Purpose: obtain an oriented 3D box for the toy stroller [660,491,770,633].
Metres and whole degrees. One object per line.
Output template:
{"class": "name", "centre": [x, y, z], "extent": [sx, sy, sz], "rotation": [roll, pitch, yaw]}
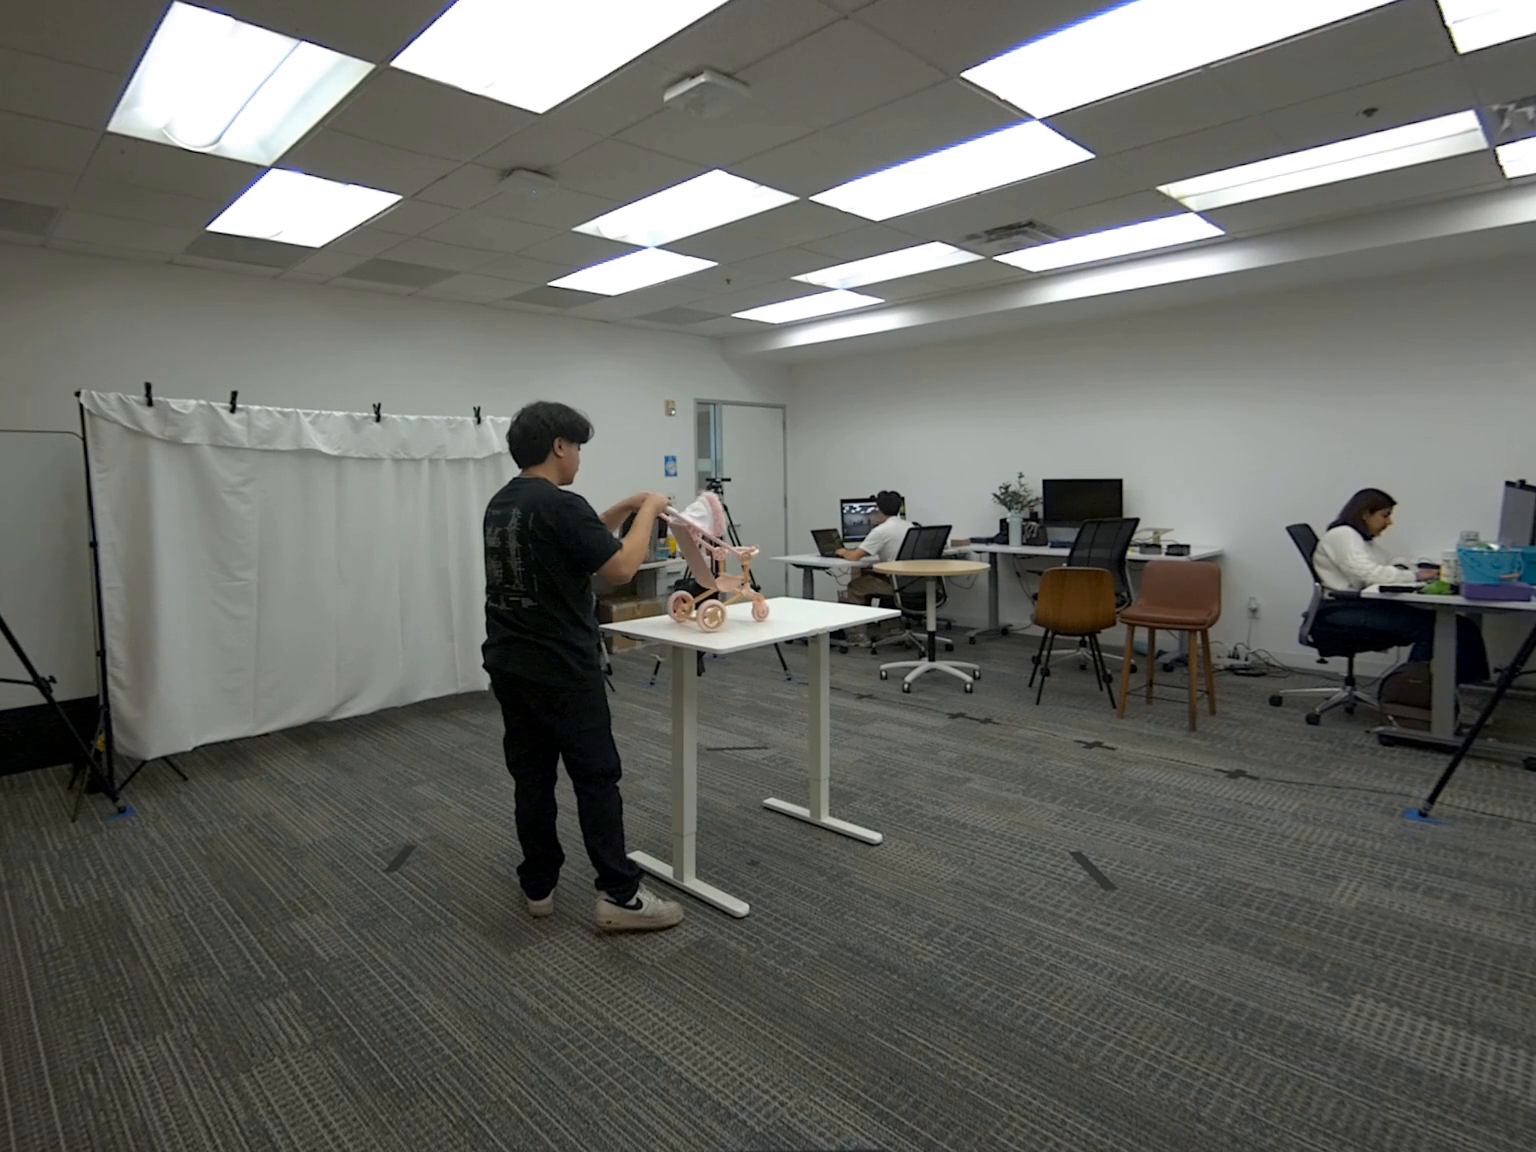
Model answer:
{"class": "toy stroller", "centre": [-0.187, -0.052, 2.974], "extent": [0.337, 0.530, 0.288], "rotation": [-16, 10, -21]}
